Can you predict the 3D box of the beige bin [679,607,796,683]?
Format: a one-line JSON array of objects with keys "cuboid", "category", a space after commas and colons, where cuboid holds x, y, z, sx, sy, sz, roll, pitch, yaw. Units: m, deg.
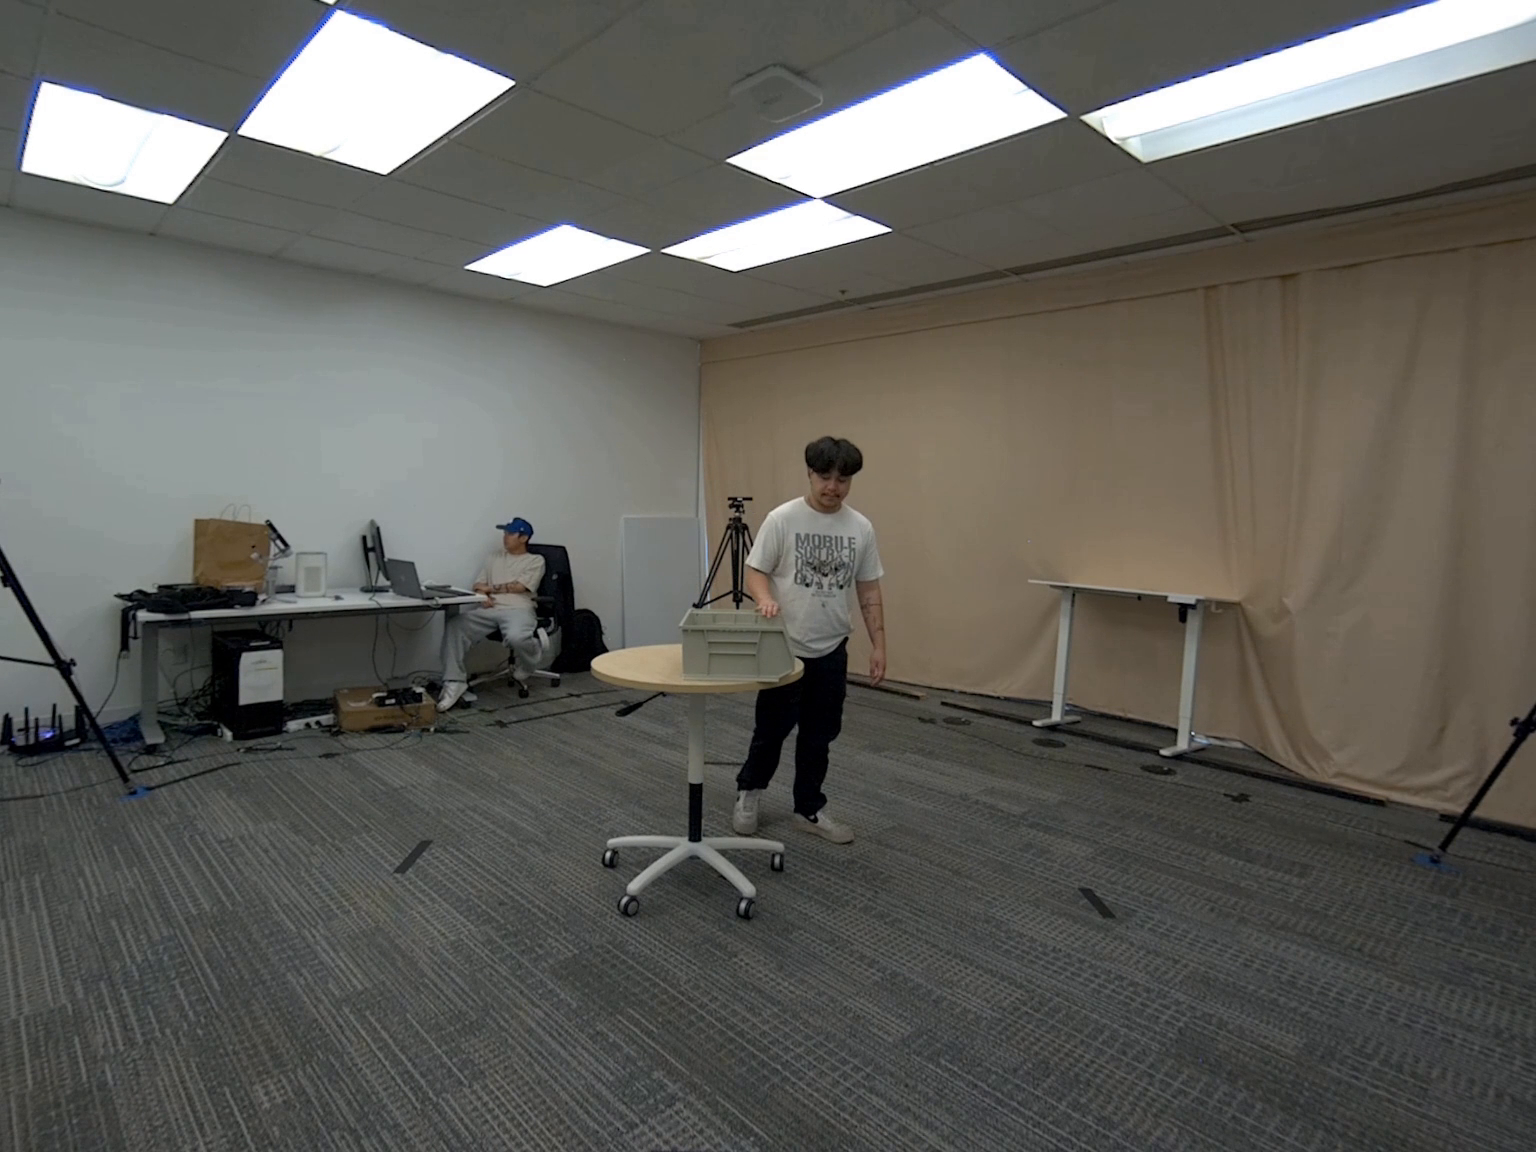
[{"cuboid": [-0.103, 0.238, 2.927, 0.377, 0.188, 0.424, 0, 5, -1], "category": "beige bin"}]
